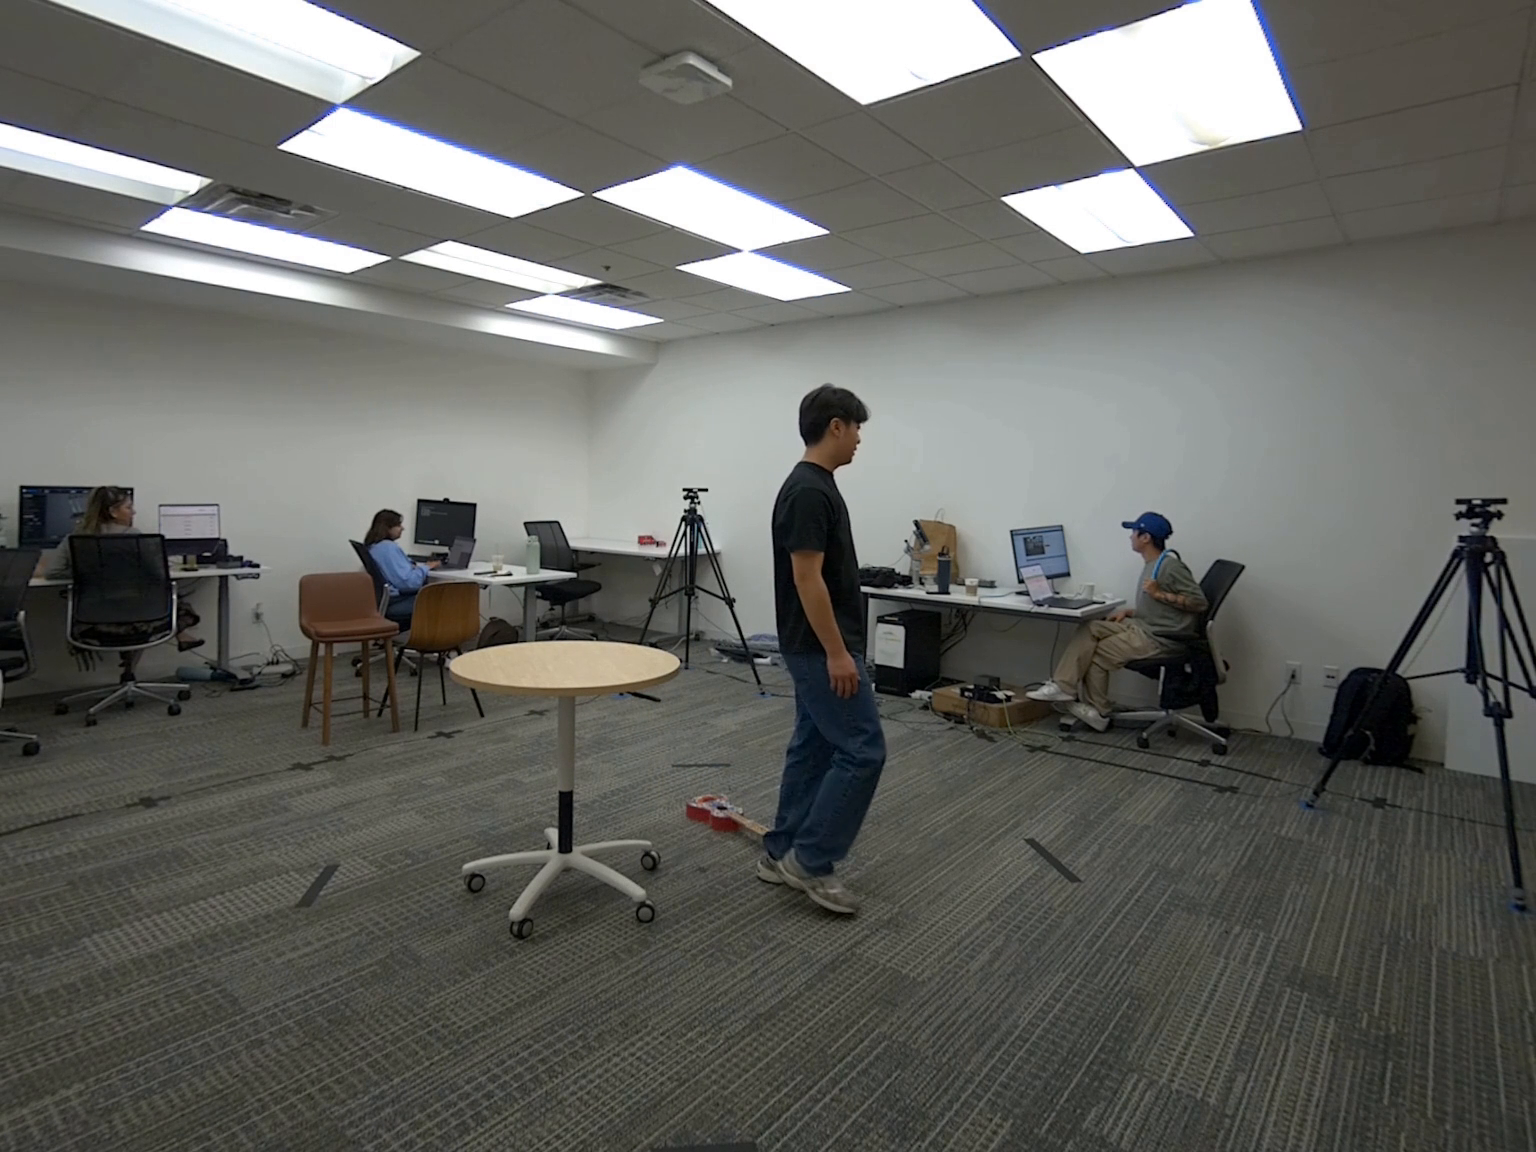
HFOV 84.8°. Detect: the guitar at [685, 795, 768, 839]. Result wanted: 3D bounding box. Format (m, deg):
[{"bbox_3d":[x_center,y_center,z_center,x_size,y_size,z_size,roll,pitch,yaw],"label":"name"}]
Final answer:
[{"bbox_3d":[-0.182,1.000,3.481,0.188,0.070,0.512,-1,5,-27],"label":"guitar"}]
